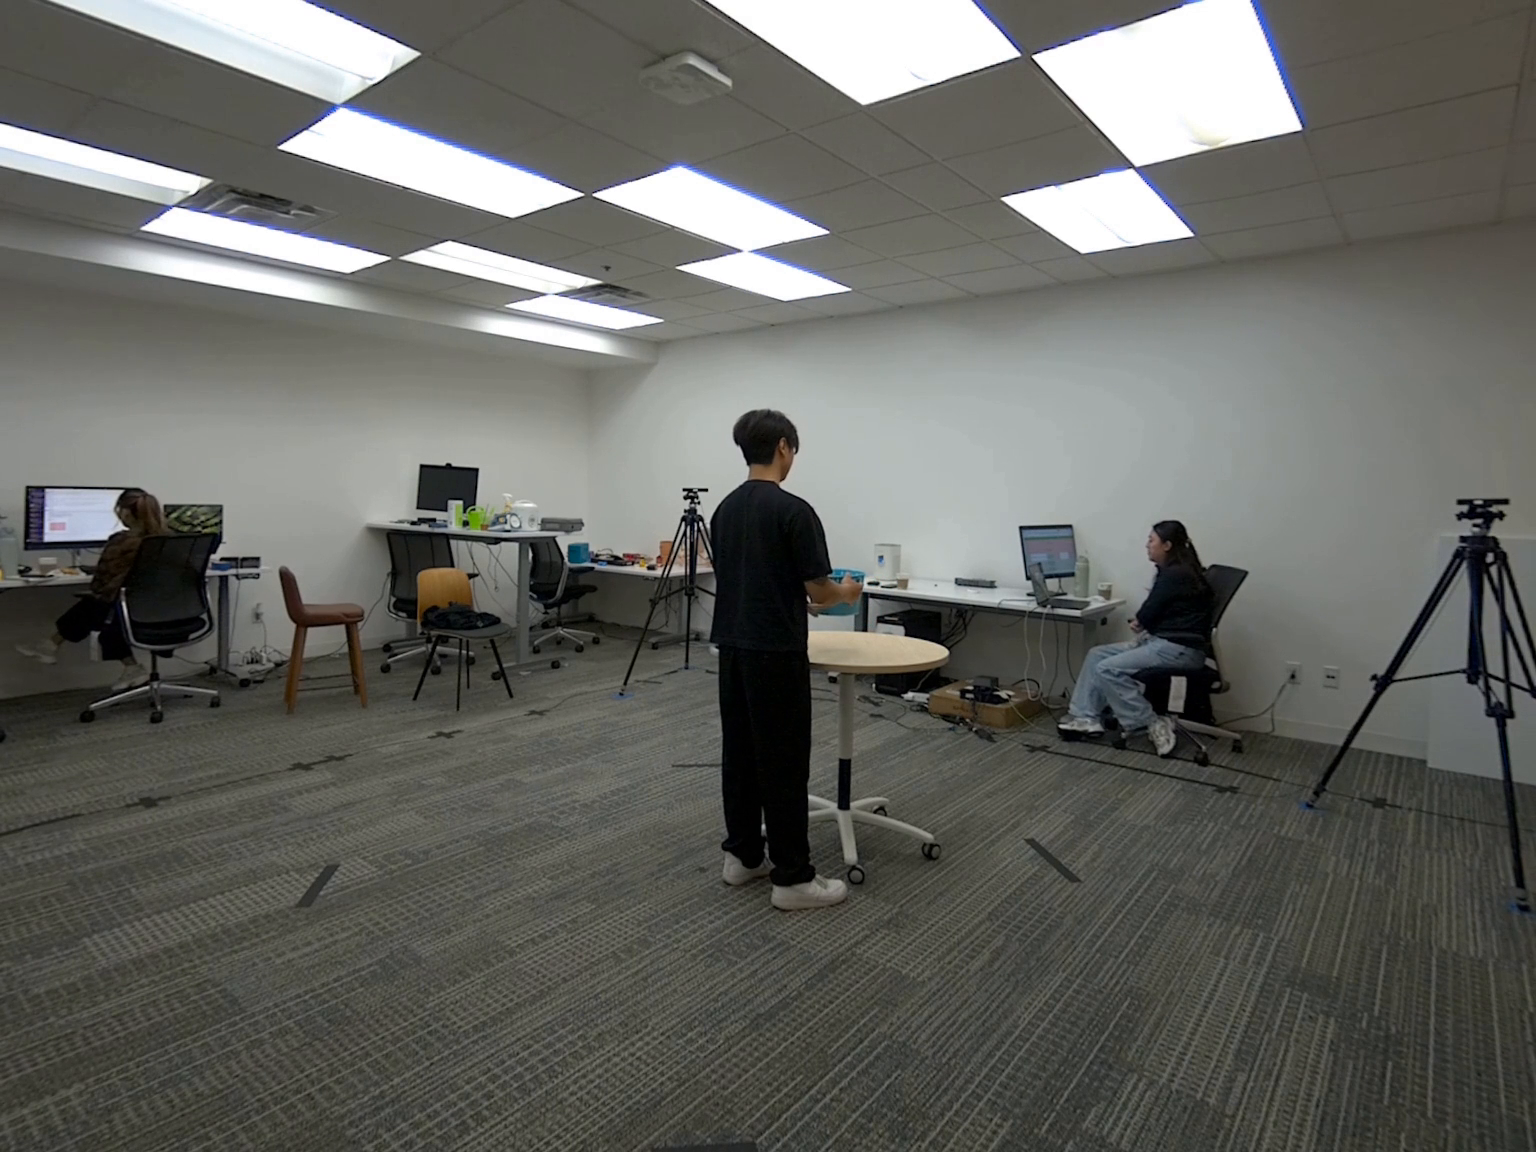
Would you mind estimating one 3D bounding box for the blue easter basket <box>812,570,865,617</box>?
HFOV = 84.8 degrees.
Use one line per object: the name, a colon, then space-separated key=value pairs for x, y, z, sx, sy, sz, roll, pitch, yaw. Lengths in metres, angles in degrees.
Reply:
blue easter basket: x=0.243 y=0.065 z=3.231 sx=0.243 sy=0.155 sz=0.245 roll=0 pitch=6 yaw=-2
